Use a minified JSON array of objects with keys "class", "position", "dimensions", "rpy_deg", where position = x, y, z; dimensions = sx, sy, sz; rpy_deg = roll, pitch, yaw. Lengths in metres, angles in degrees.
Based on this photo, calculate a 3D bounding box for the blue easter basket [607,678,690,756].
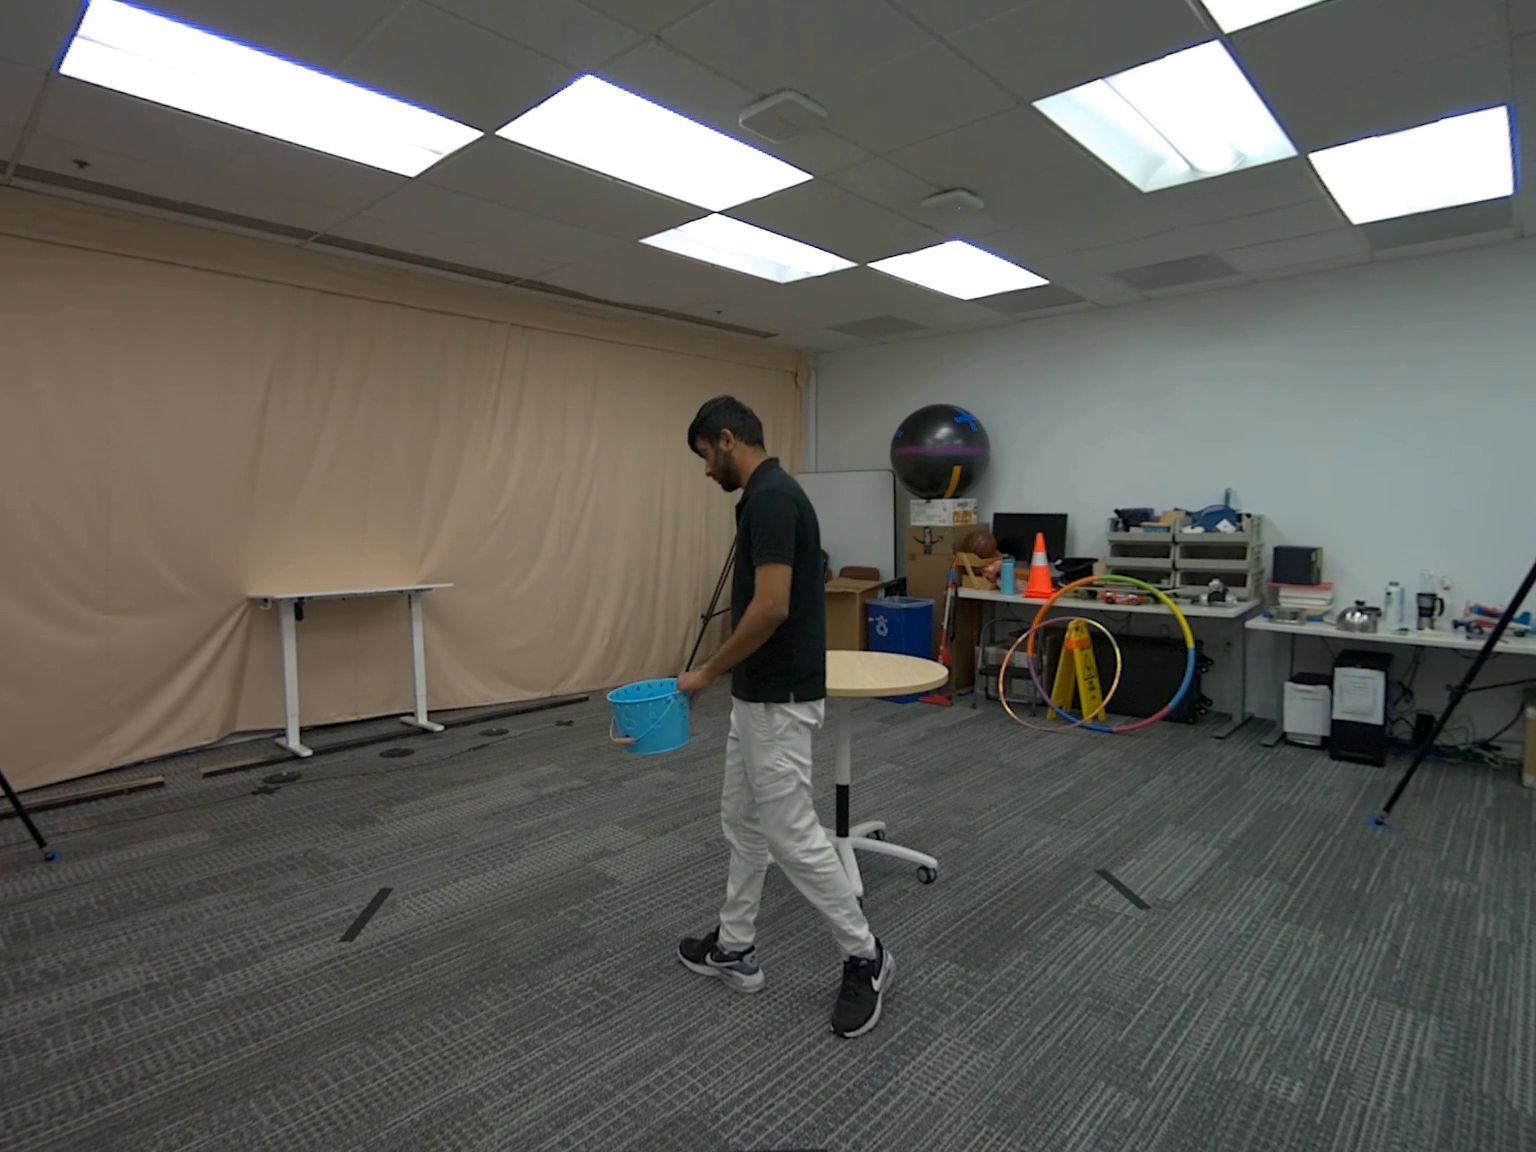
[{"class":"blue easter basket","position":[-0.311,0.383,2.289],"dimensions":[0.243,0.155,0.244],"rpy_deg":[-7,3,-2]}]
